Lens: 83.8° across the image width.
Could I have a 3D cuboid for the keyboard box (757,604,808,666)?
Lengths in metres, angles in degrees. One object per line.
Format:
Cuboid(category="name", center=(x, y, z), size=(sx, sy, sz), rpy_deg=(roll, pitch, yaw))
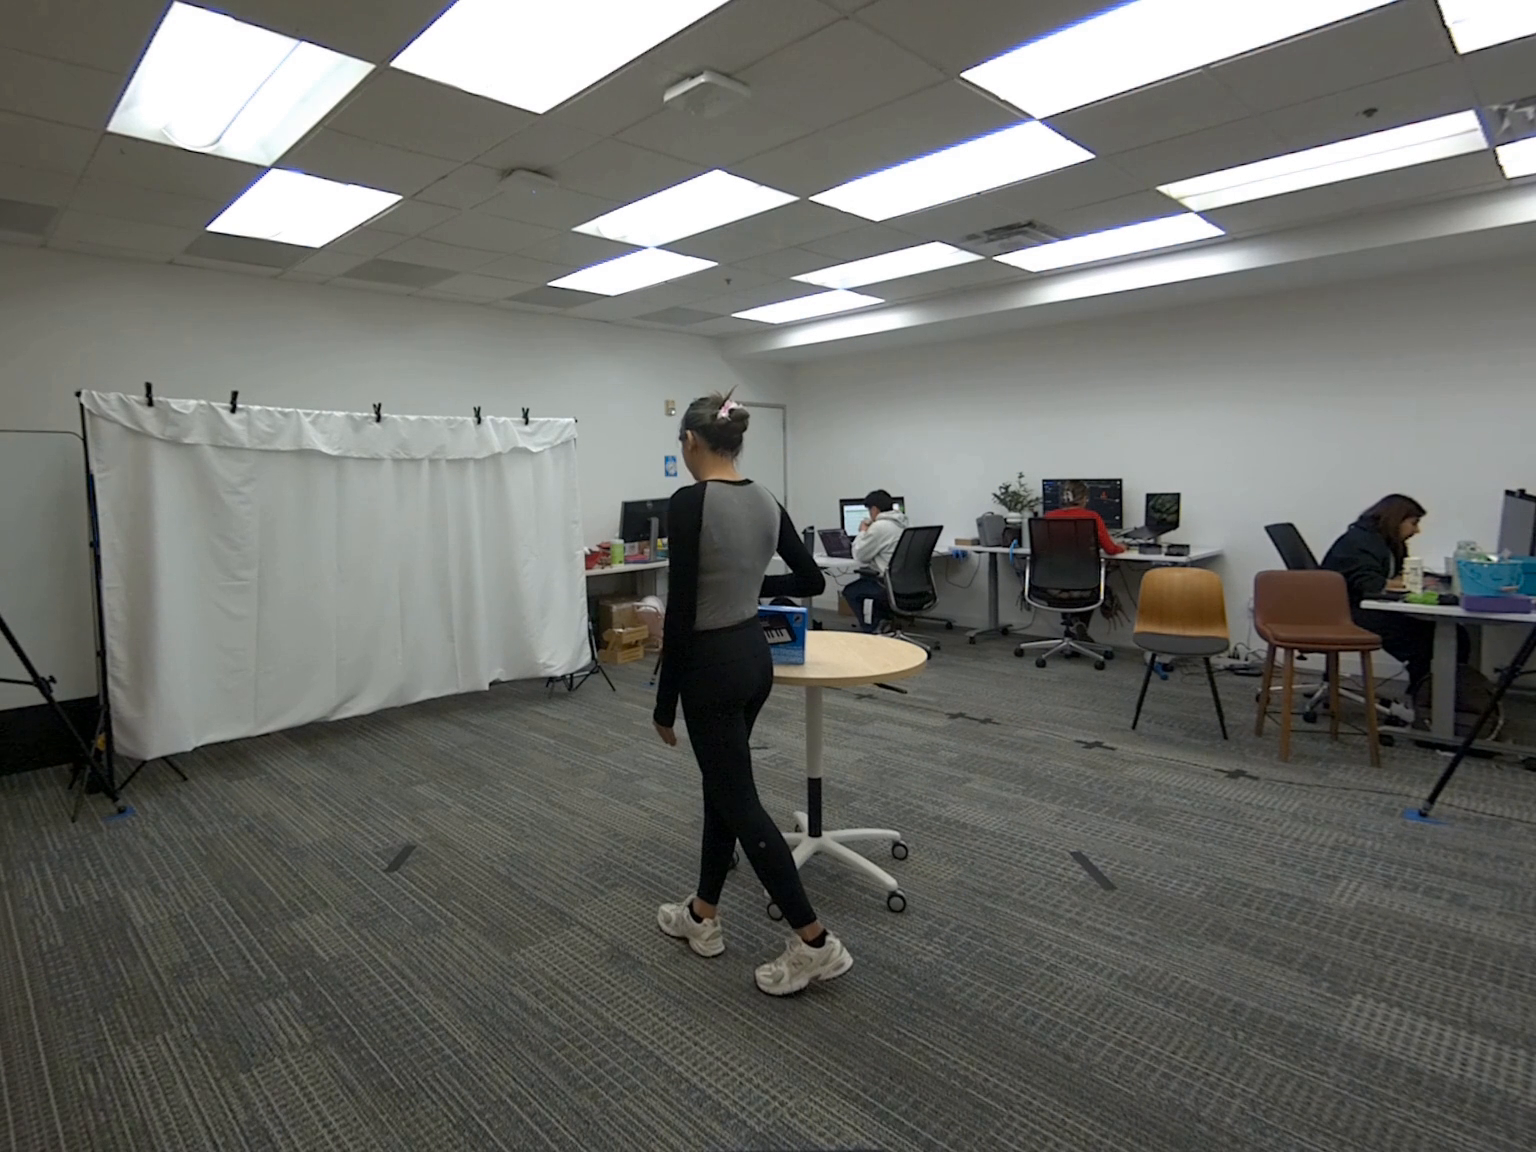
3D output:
Cuboid(category="keyboard box", center=(-0.092, 0.177, 2.798), size=(0.442, 0.175, 0.059), rpy_deg=(2, 5, 11))
